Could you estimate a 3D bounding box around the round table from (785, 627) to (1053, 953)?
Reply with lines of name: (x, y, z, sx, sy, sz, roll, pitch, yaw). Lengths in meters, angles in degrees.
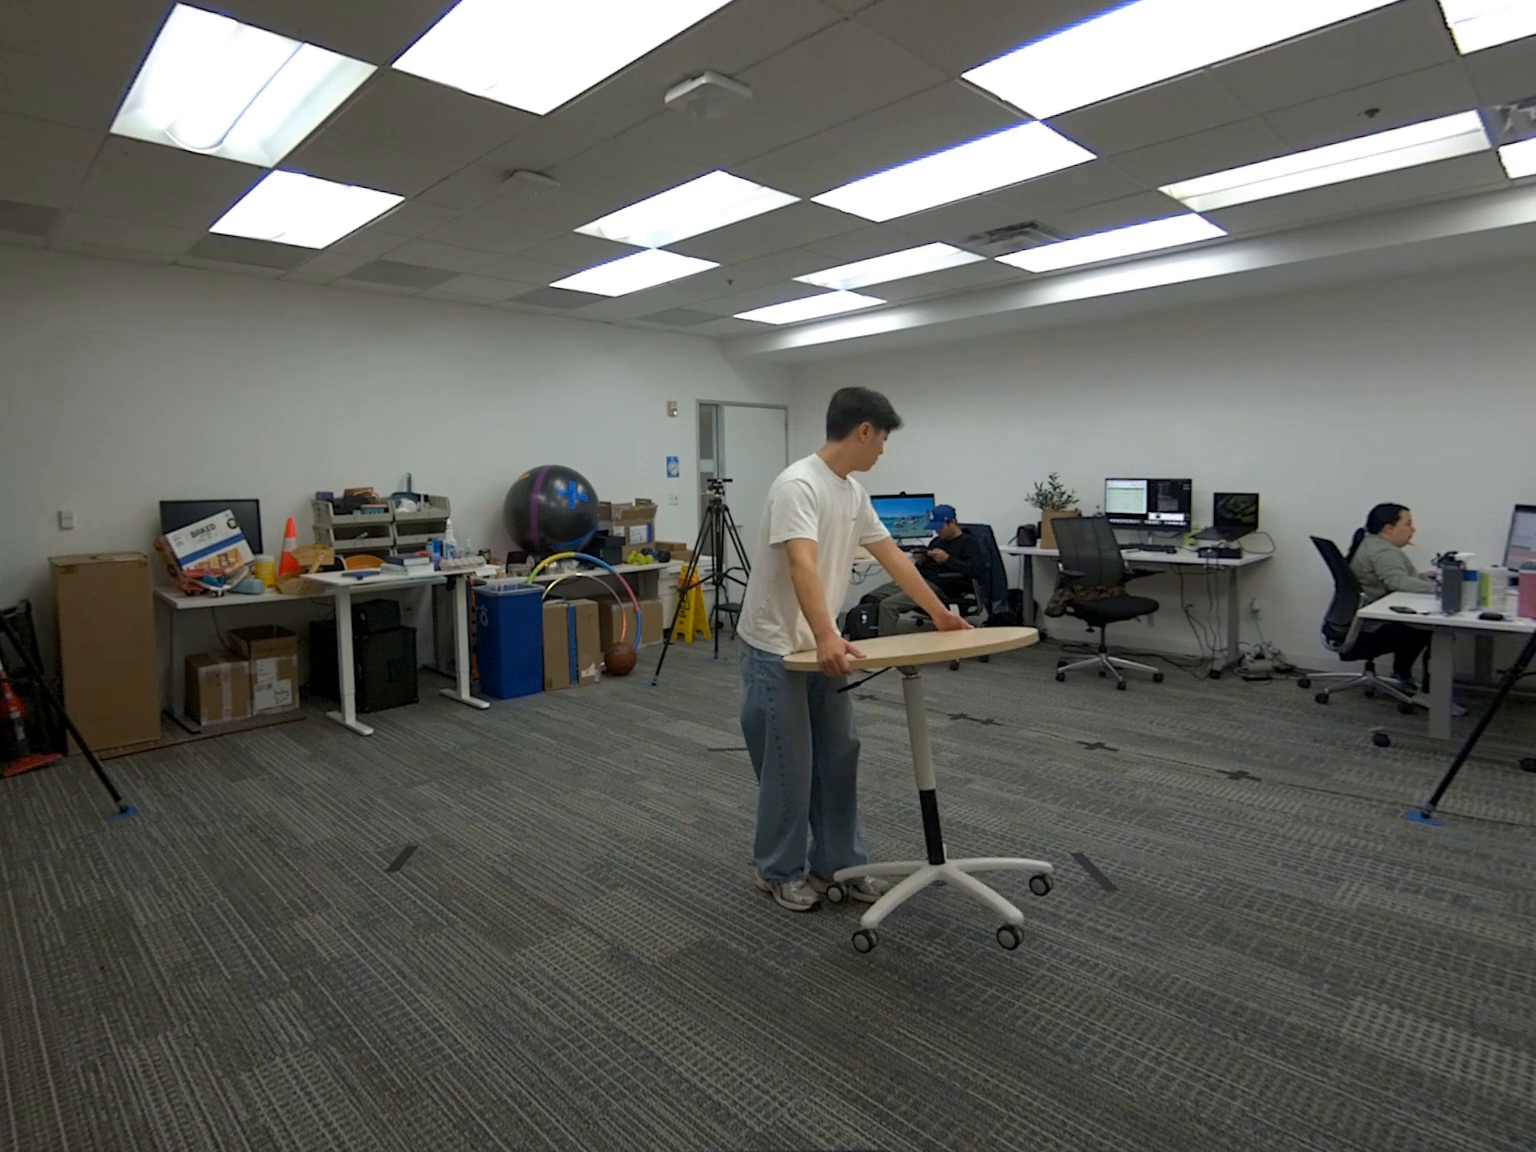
round table: (0.485, 0.616, 2.594, 0.763, 0.797, 0.762, -7, -3, -2)
